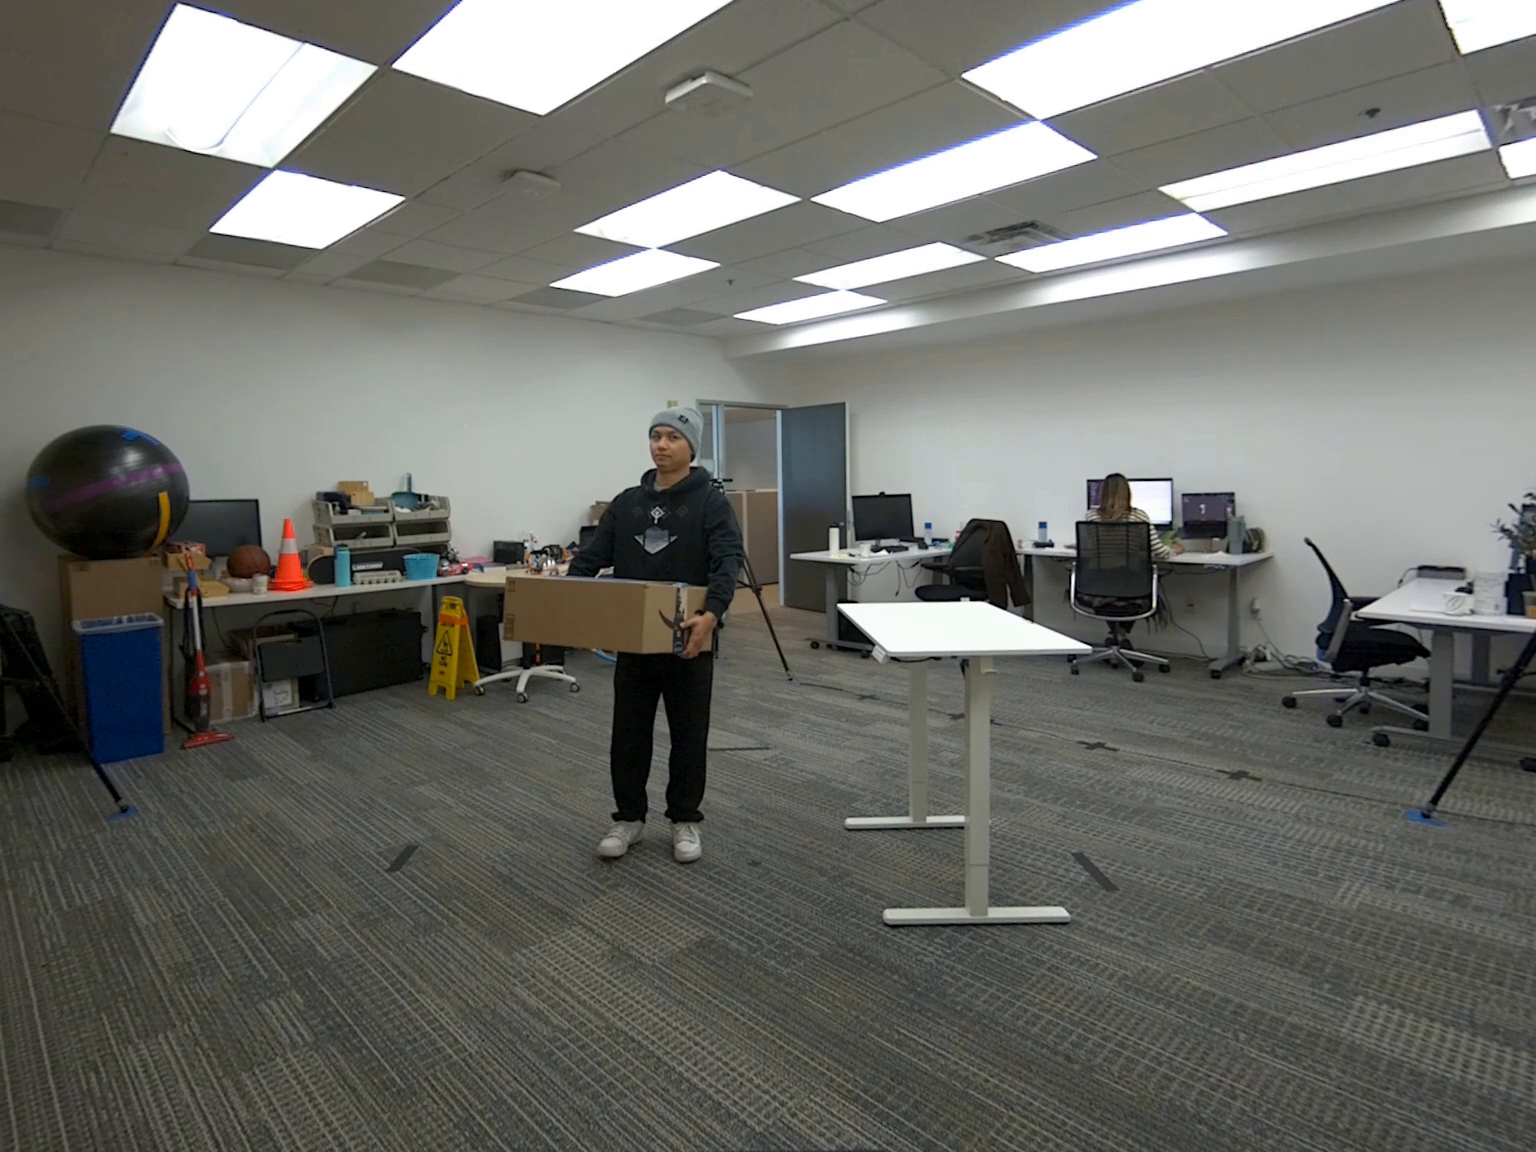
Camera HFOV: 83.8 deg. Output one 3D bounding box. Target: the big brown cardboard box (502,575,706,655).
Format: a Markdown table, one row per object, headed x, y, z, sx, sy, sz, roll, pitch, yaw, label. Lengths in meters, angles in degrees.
| x | y | z | sx | sy | sz | roll | pitch | yaw | label |
| --- | --- | --- | --- | --- | --- | --- | --- | --- | --- |
| -0.544 | 0.129 | 2.882 | 0.604 | 0.234 | 0.406 | 3 | -2 | 28 | big brown cardboard box |
